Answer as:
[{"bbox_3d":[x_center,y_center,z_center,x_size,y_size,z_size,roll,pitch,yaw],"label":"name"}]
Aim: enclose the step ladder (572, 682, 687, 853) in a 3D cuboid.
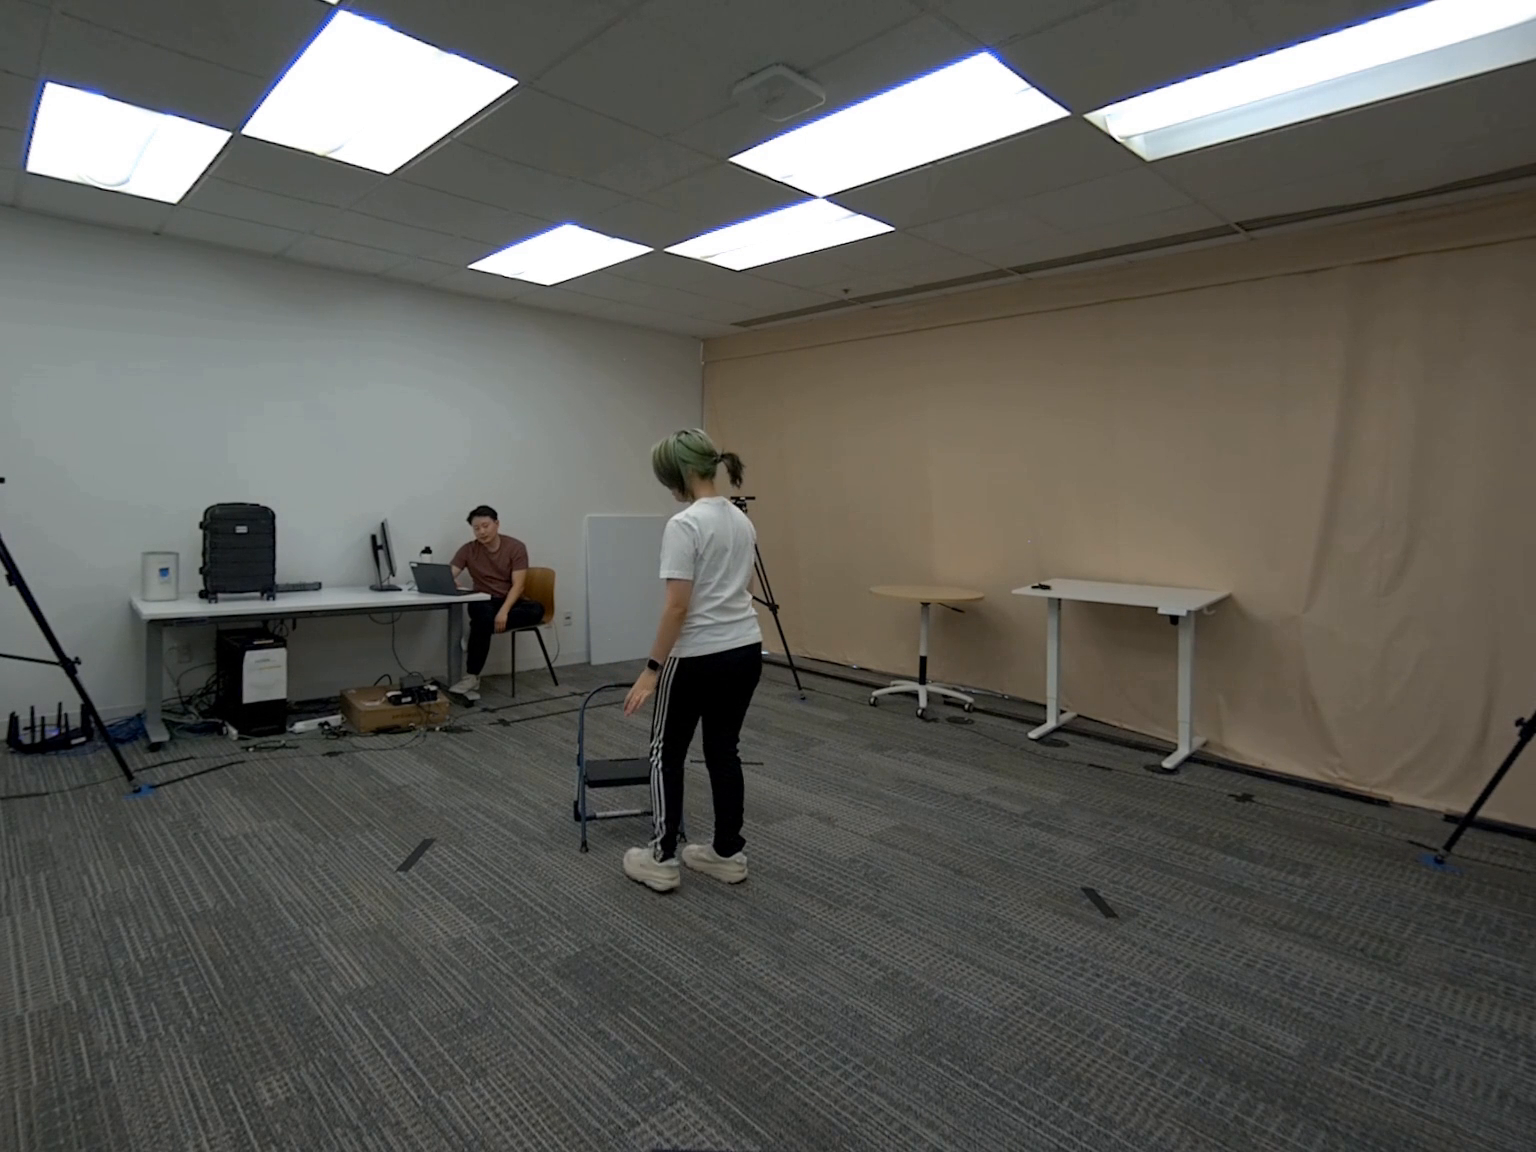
[{"bbox_3d":[-0.581,0.757,3.482,0.425,0.605,0.355,0,3,-18],"label":"step ladder"}]
